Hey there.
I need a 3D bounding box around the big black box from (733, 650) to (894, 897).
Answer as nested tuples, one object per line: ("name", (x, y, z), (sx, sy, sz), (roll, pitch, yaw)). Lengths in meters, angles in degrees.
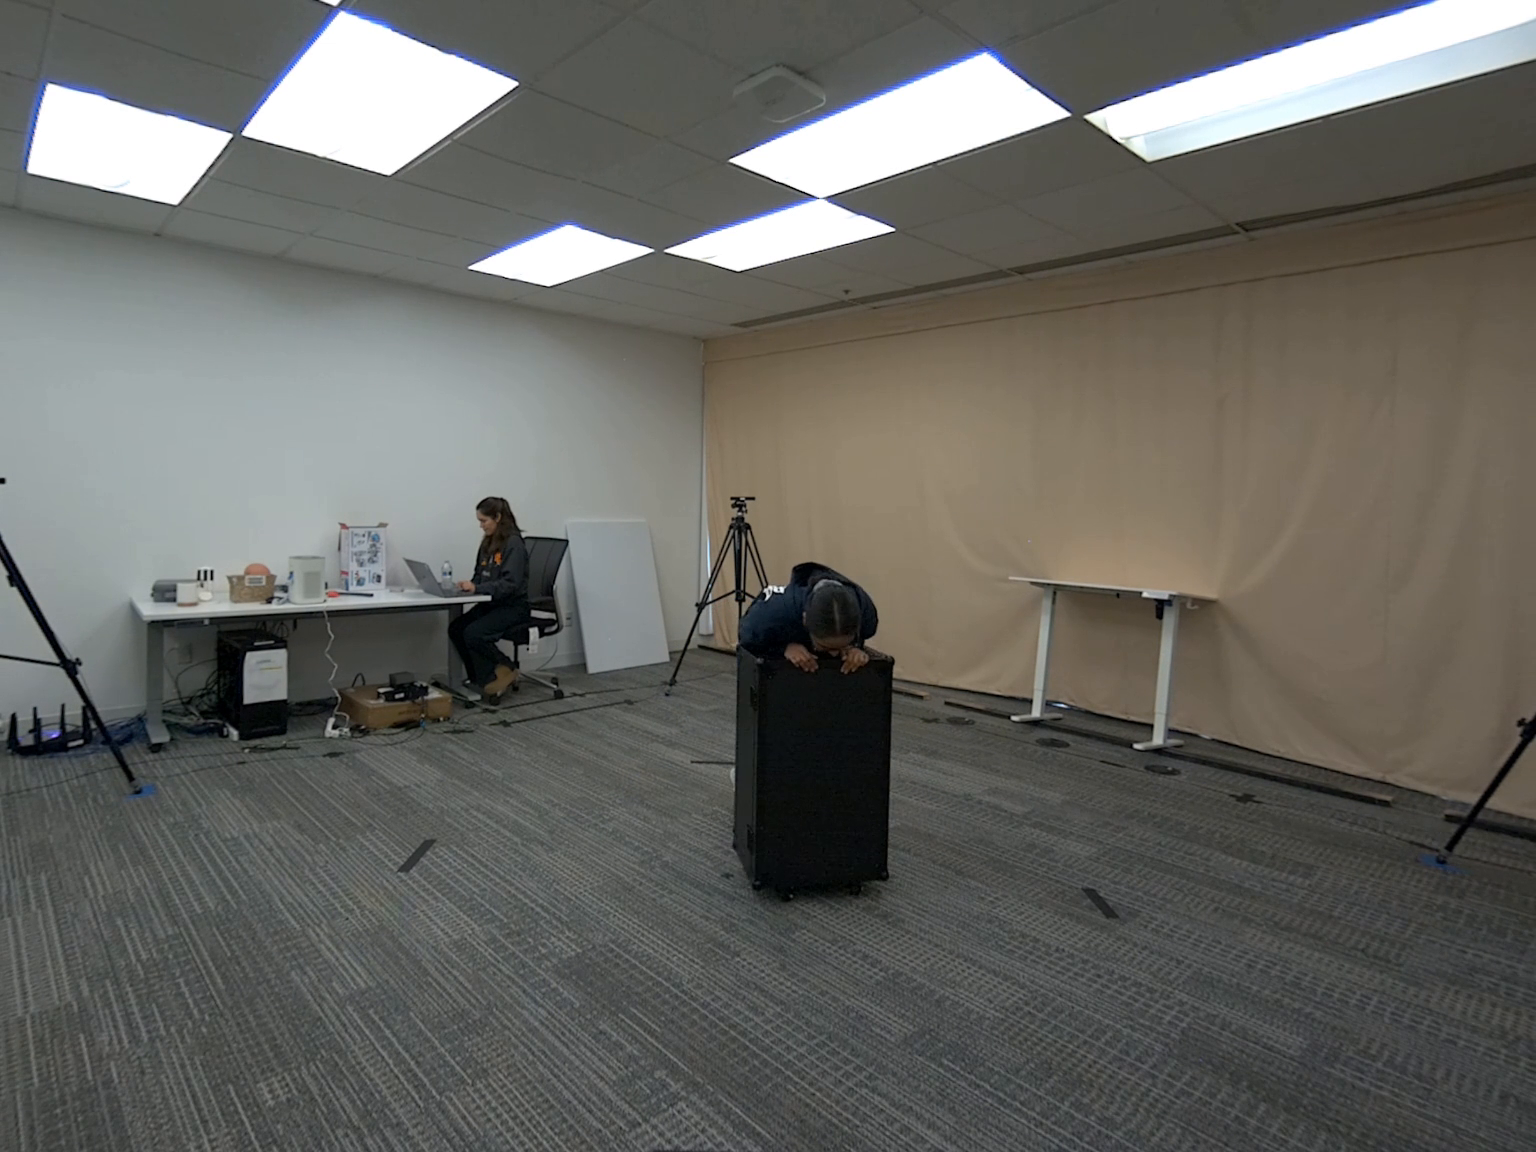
("big black box", (0.138, 0.693, 3.057), (0.516, 0.859, 0.401), (-1, 3, -13))
